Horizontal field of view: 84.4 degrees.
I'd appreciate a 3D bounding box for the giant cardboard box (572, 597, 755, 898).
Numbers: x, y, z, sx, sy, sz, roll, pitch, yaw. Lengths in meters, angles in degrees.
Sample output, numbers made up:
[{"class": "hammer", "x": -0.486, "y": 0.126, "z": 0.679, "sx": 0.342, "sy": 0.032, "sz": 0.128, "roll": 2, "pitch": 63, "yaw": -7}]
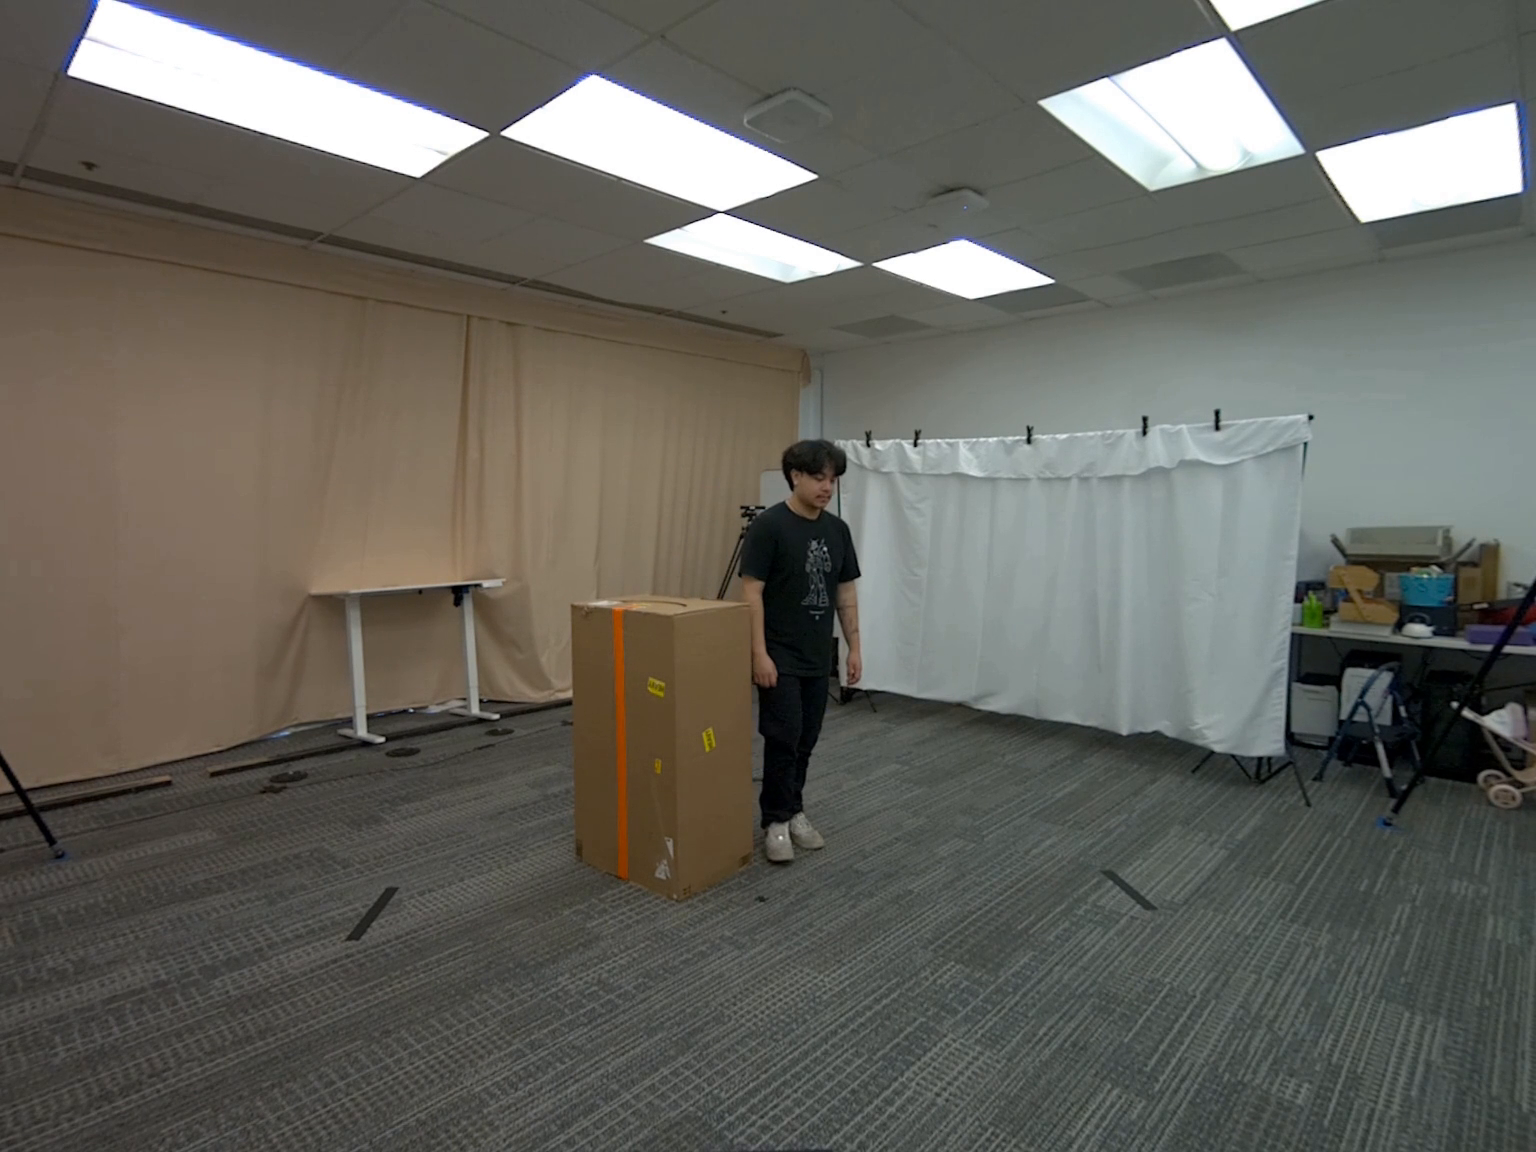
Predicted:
[{"class": "giant cardboard box", "x": -0.416, "y": 0.613, "z": 3.282, "sx": 0.603, "sy": 1.025, "sz": 0.433, "roll": 2, "pitch": 4, "yaw": 41}]
